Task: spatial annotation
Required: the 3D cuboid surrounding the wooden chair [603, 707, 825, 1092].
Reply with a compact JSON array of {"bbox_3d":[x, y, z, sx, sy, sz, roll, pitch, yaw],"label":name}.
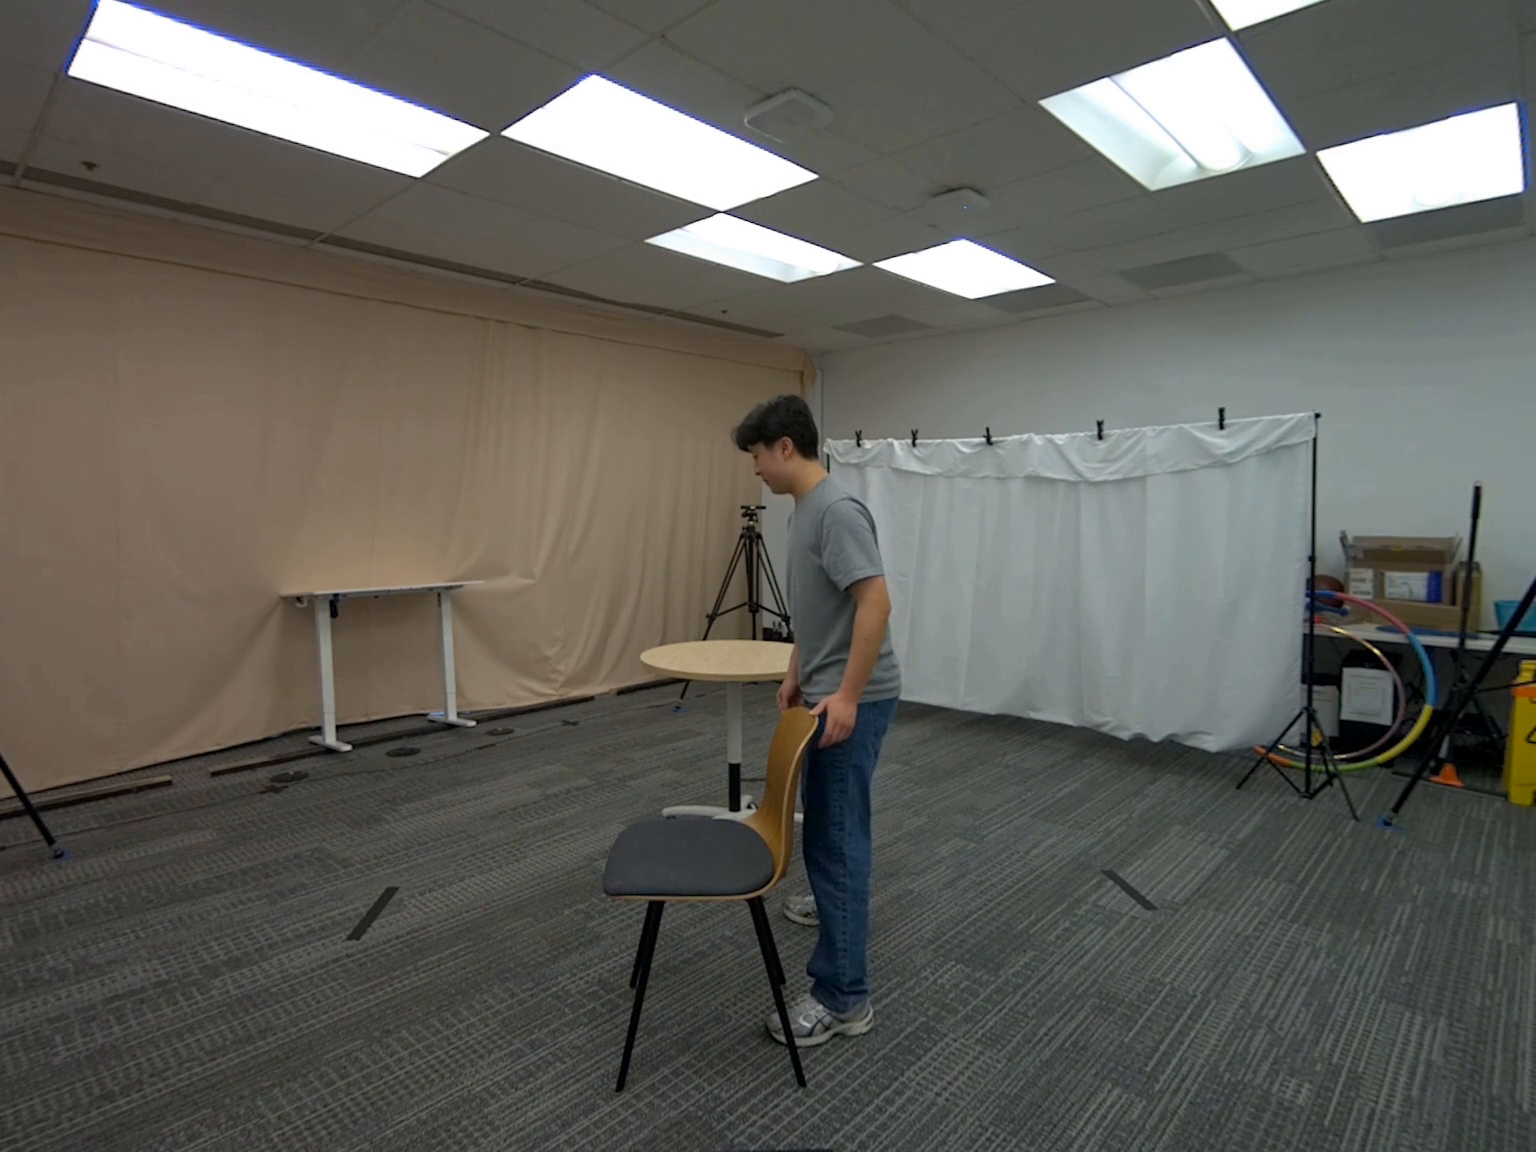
[{"bbox_3d":[-0.165,0.780,2.202,0.522,0.875,0.481,3,4,-3],"label":"wooden chair"}]
